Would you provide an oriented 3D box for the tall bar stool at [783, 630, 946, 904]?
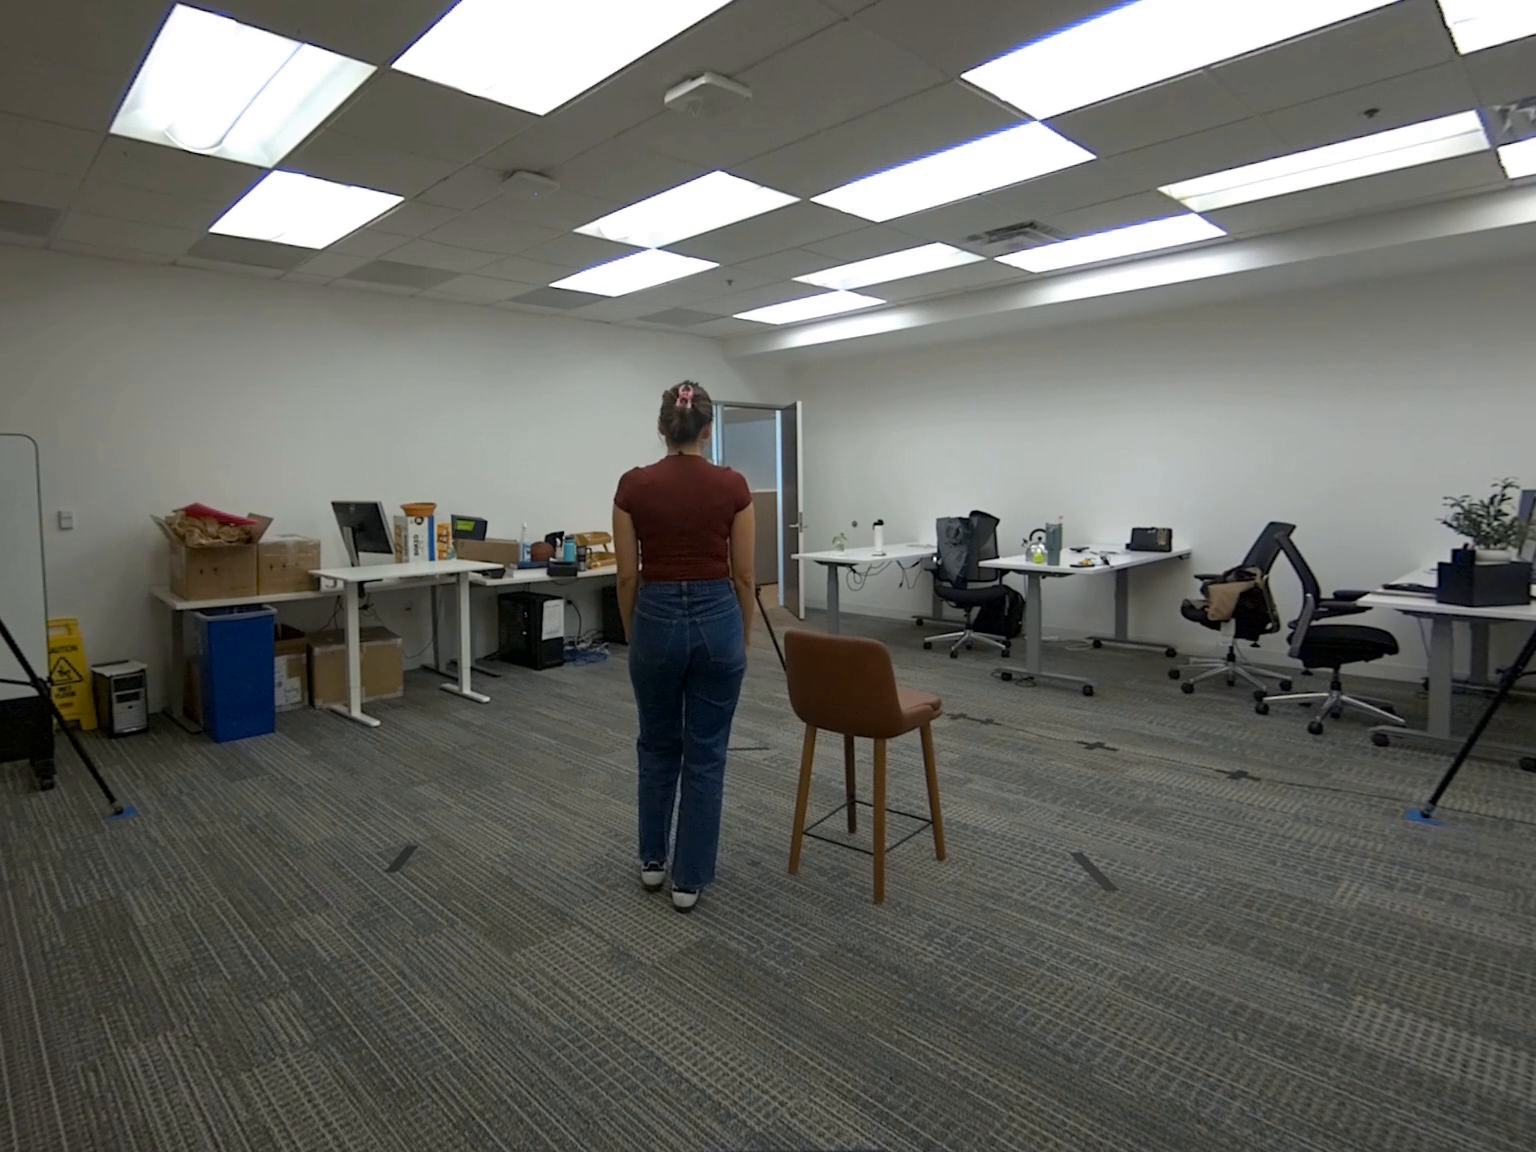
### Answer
[{"bbox_3d":[0.342,0.610,3.050,0.470,0.885,0.456,3,7,40],"label":"tall bar stool"}]
